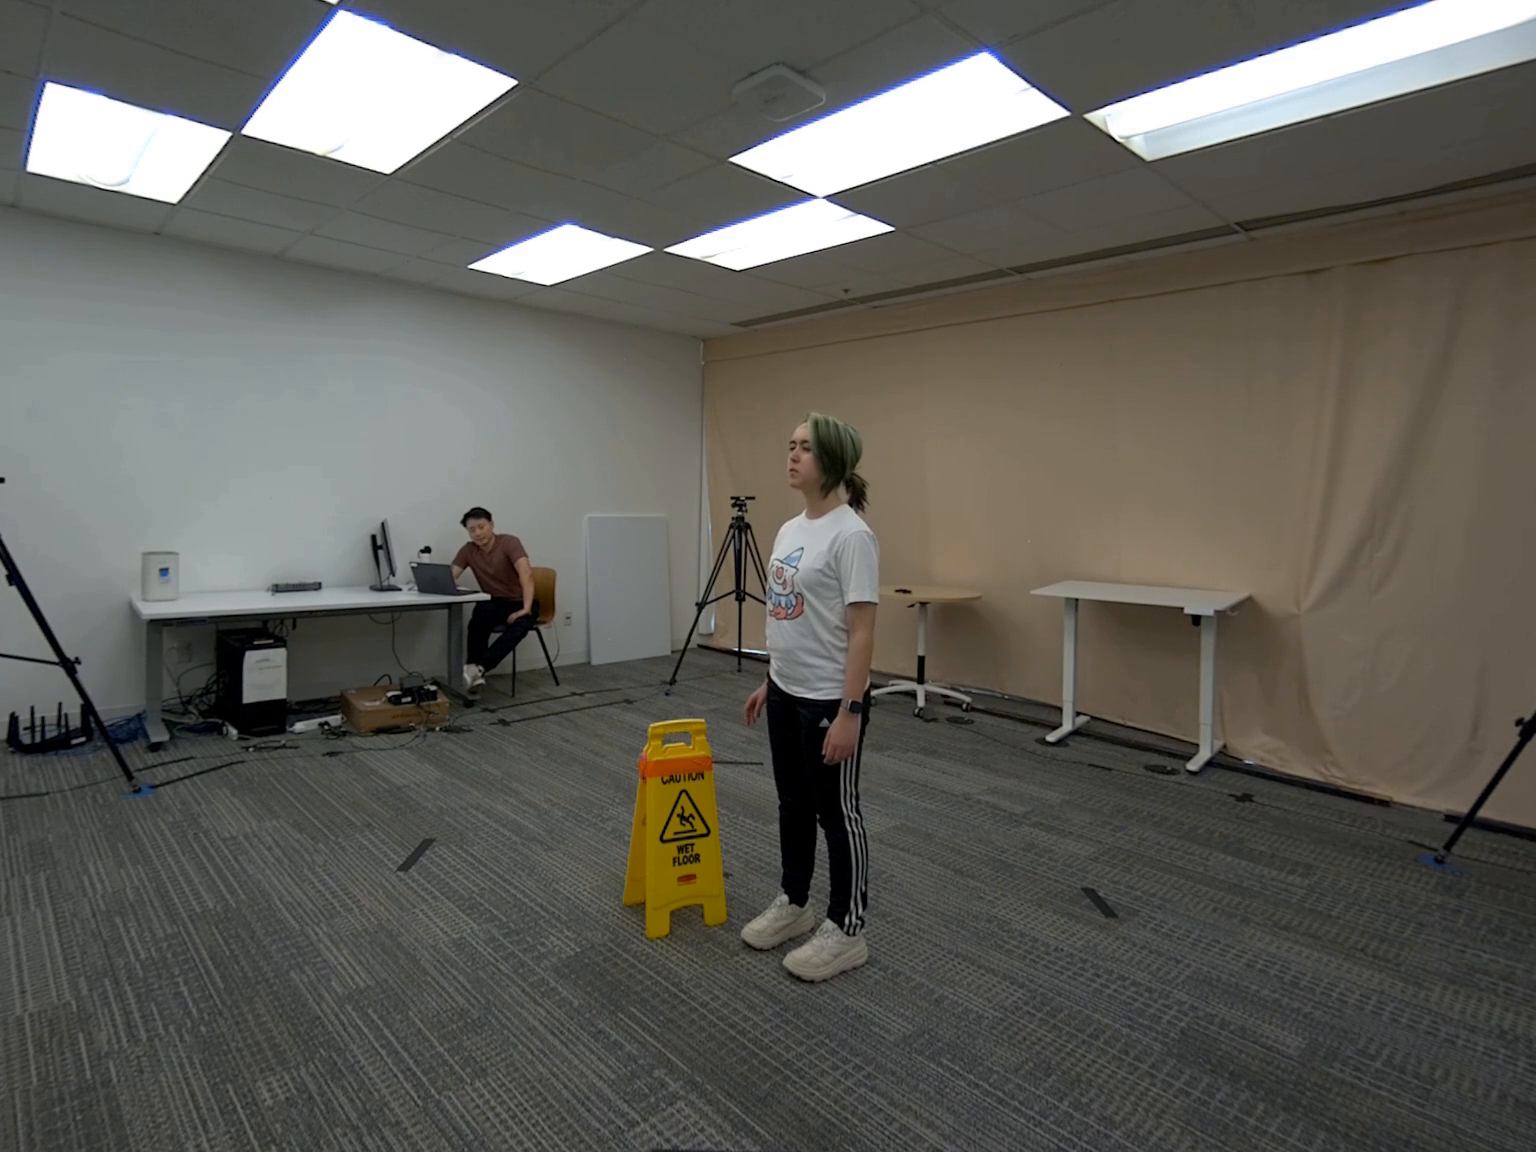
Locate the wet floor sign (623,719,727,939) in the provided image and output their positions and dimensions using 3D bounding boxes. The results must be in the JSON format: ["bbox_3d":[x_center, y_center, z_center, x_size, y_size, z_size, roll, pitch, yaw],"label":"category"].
[{"bbox_3d":[-0.311,0.801,2.788,0.277,0.644,0.296,-2,4,-26],"label":"wet floor sign"}]
